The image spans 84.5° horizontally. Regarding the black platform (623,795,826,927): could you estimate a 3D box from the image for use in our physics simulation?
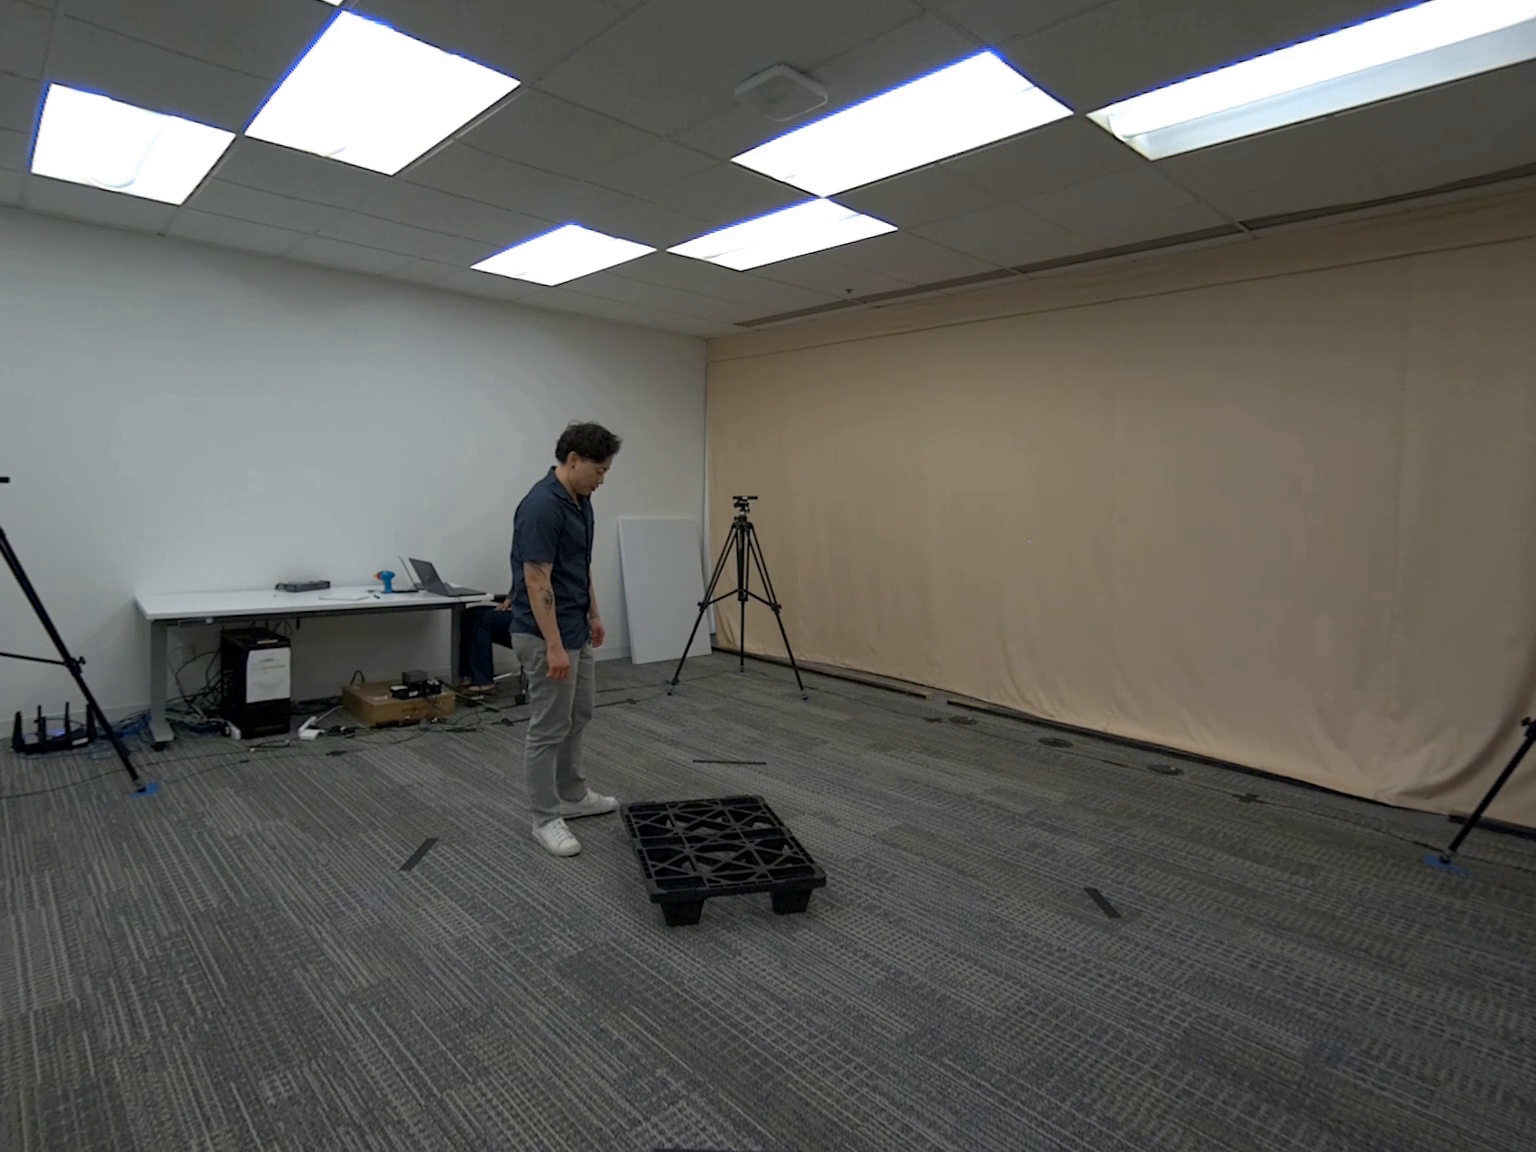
[{"bbox_3d":[-0.207,1.032,3.123,0.597,0.143,0.818,0,6,-17],"label":"black platform"}]
